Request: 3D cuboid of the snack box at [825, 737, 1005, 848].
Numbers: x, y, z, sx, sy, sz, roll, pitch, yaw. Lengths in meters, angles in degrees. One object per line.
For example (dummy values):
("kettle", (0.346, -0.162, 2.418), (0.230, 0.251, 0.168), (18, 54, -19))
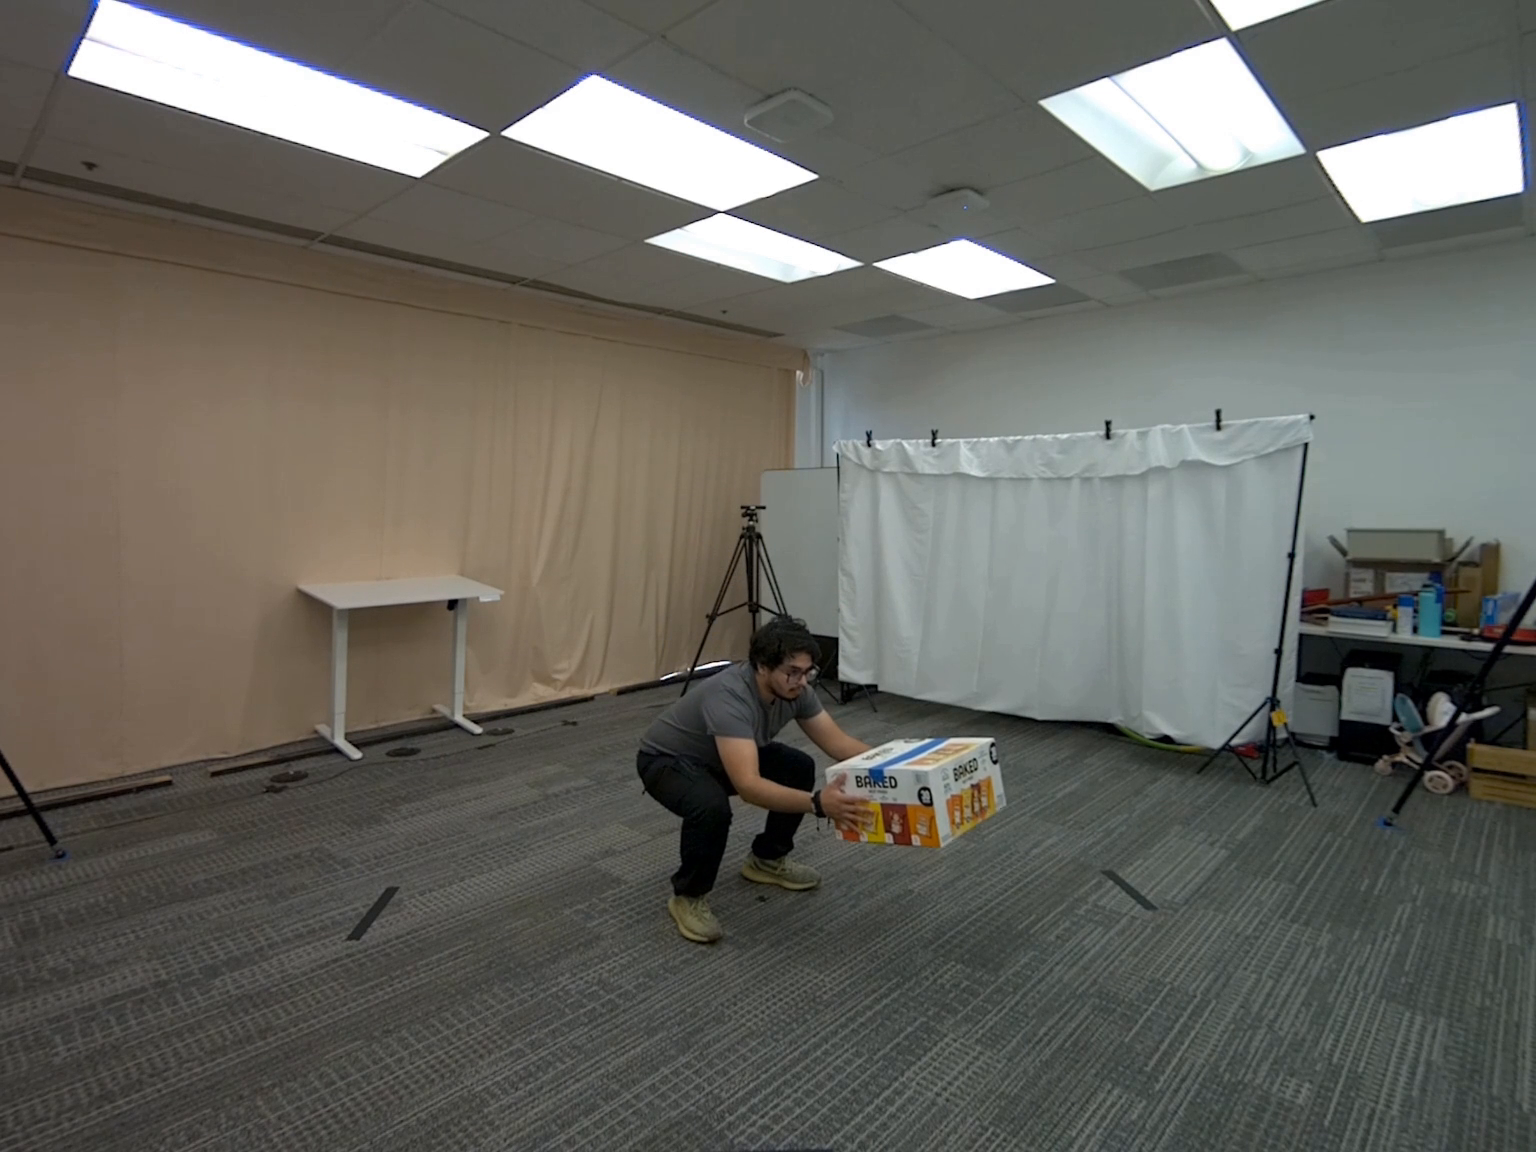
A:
("snack box", (0.437, 0.617, 2.457), (0.350, 0.206, 0.393), (-11, -3, 40))
